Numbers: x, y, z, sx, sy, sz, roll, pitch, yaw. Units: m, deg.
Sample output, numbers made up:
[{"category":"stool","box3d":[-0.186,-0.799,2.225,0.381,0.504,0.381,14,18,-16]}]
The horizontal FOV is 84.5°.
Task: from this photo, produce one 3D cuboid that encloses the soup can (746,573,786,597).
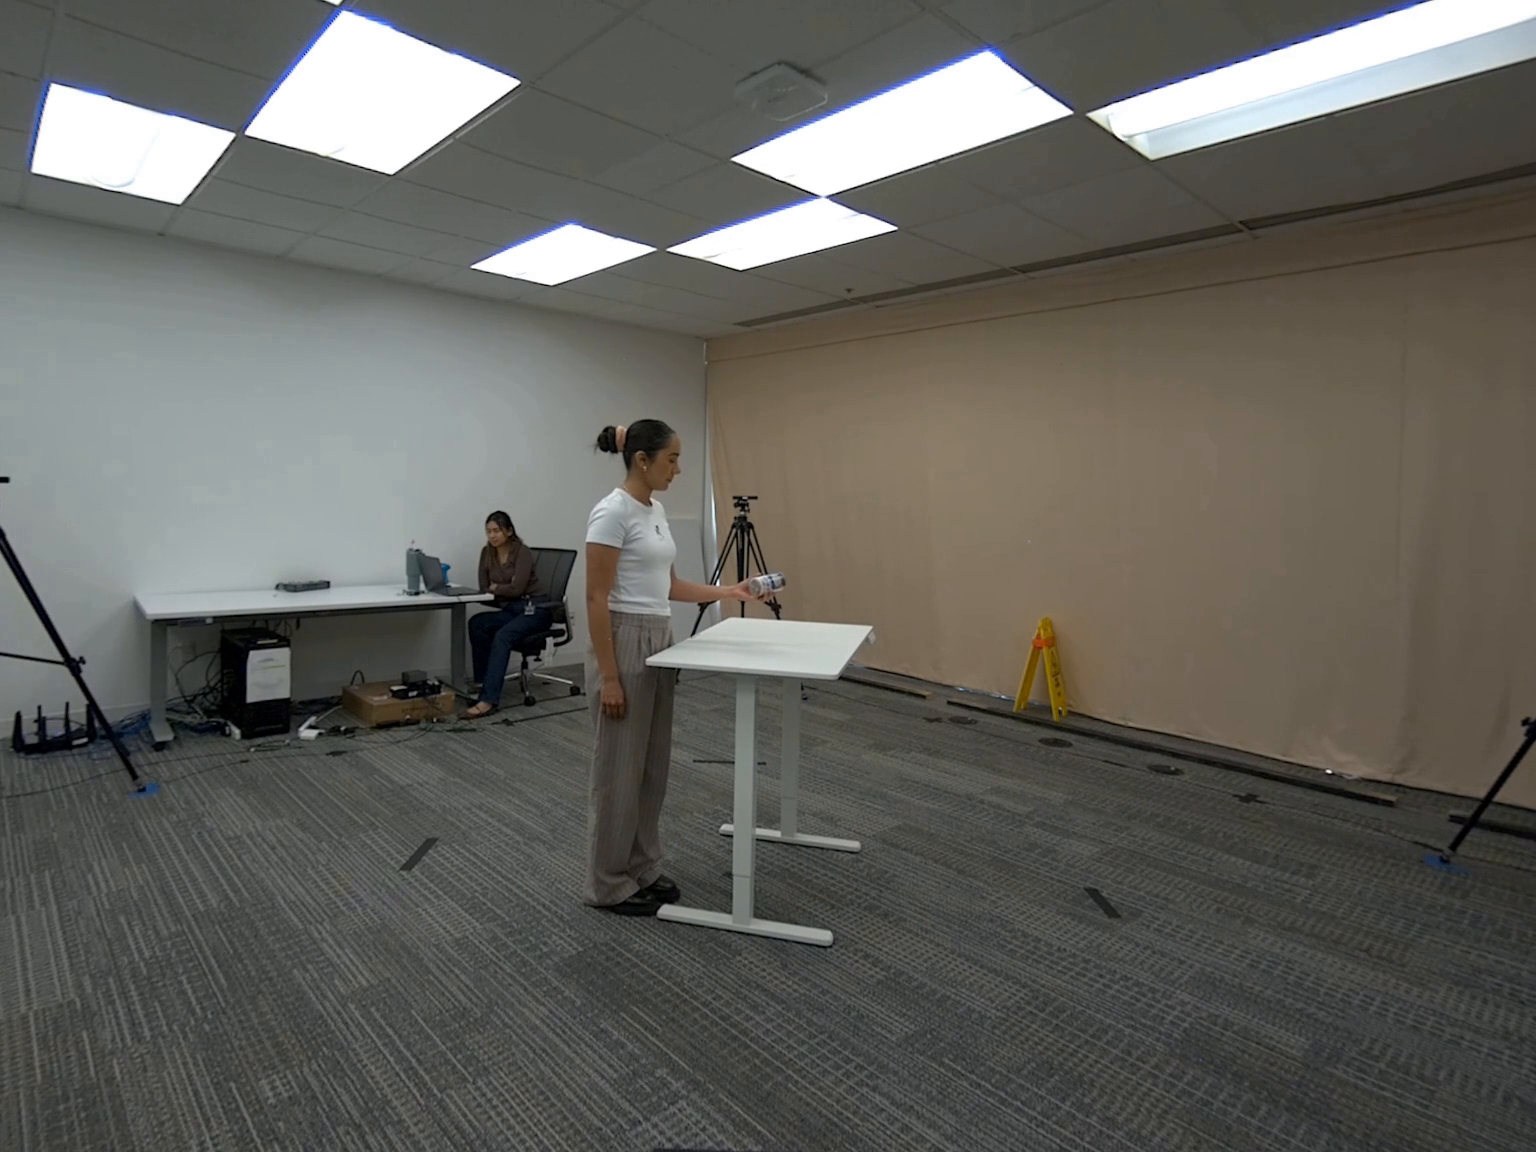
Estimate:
[{"category":"soup can","box3d":[-0.012,0.026,2.965,0.119,0.067,0.068,-10,9,-26]}]
